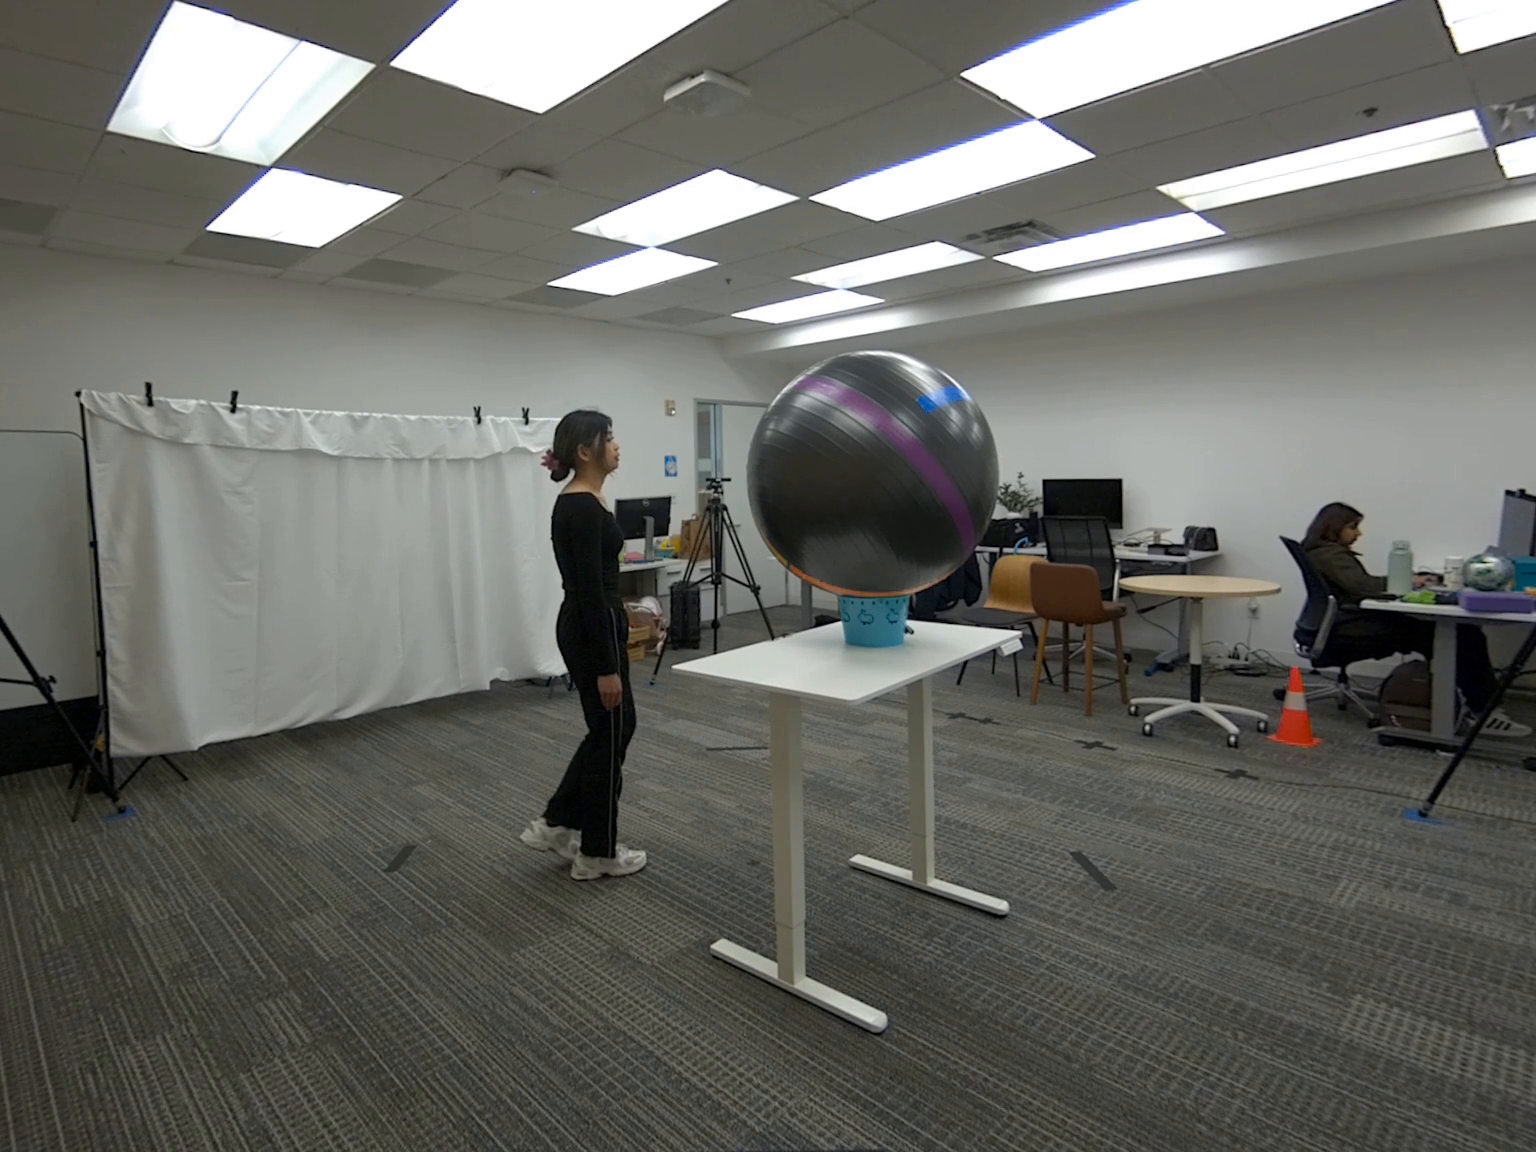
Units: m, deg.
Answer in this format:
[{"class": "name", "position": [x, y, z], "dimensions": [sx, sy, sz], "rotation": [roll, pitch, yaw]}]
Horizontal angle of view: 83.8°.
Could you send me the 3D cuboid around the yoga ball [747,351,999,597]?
[{"class": "yoga ball", "position": [0.315, -0.297, 2.627], "dimensions": [0.757, 0.755, 0.762], "rotation": [-1, 5, -2]}]
